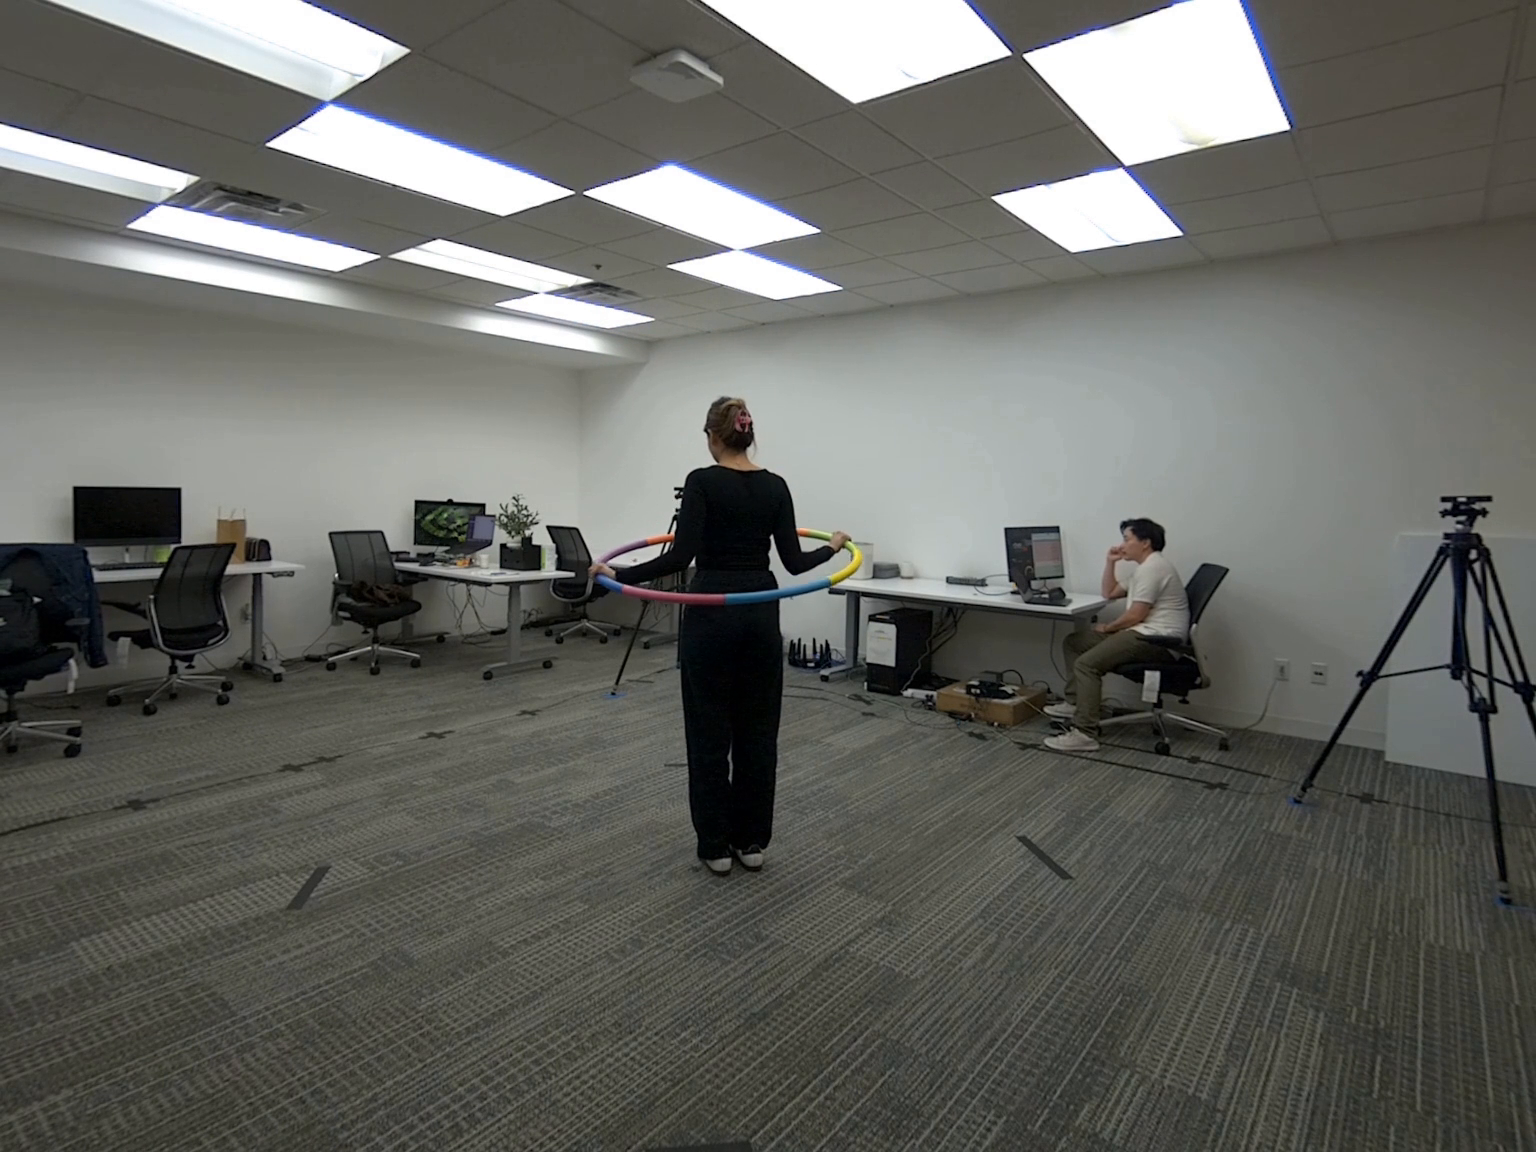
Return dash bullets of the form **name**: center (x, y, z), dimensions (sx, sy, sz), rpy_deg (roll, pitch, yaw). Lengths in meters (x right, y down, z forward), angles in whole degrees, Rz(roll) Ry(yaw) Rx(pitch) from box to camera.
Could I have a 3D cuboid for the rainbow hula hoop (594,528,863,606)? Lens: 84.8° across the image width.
- **rainbow hula hoop**: center (-0.154, -0.062, 3.160), dimensions (0.979, 0.035, 0.994), rpy_deg (-4, 17, -1)
